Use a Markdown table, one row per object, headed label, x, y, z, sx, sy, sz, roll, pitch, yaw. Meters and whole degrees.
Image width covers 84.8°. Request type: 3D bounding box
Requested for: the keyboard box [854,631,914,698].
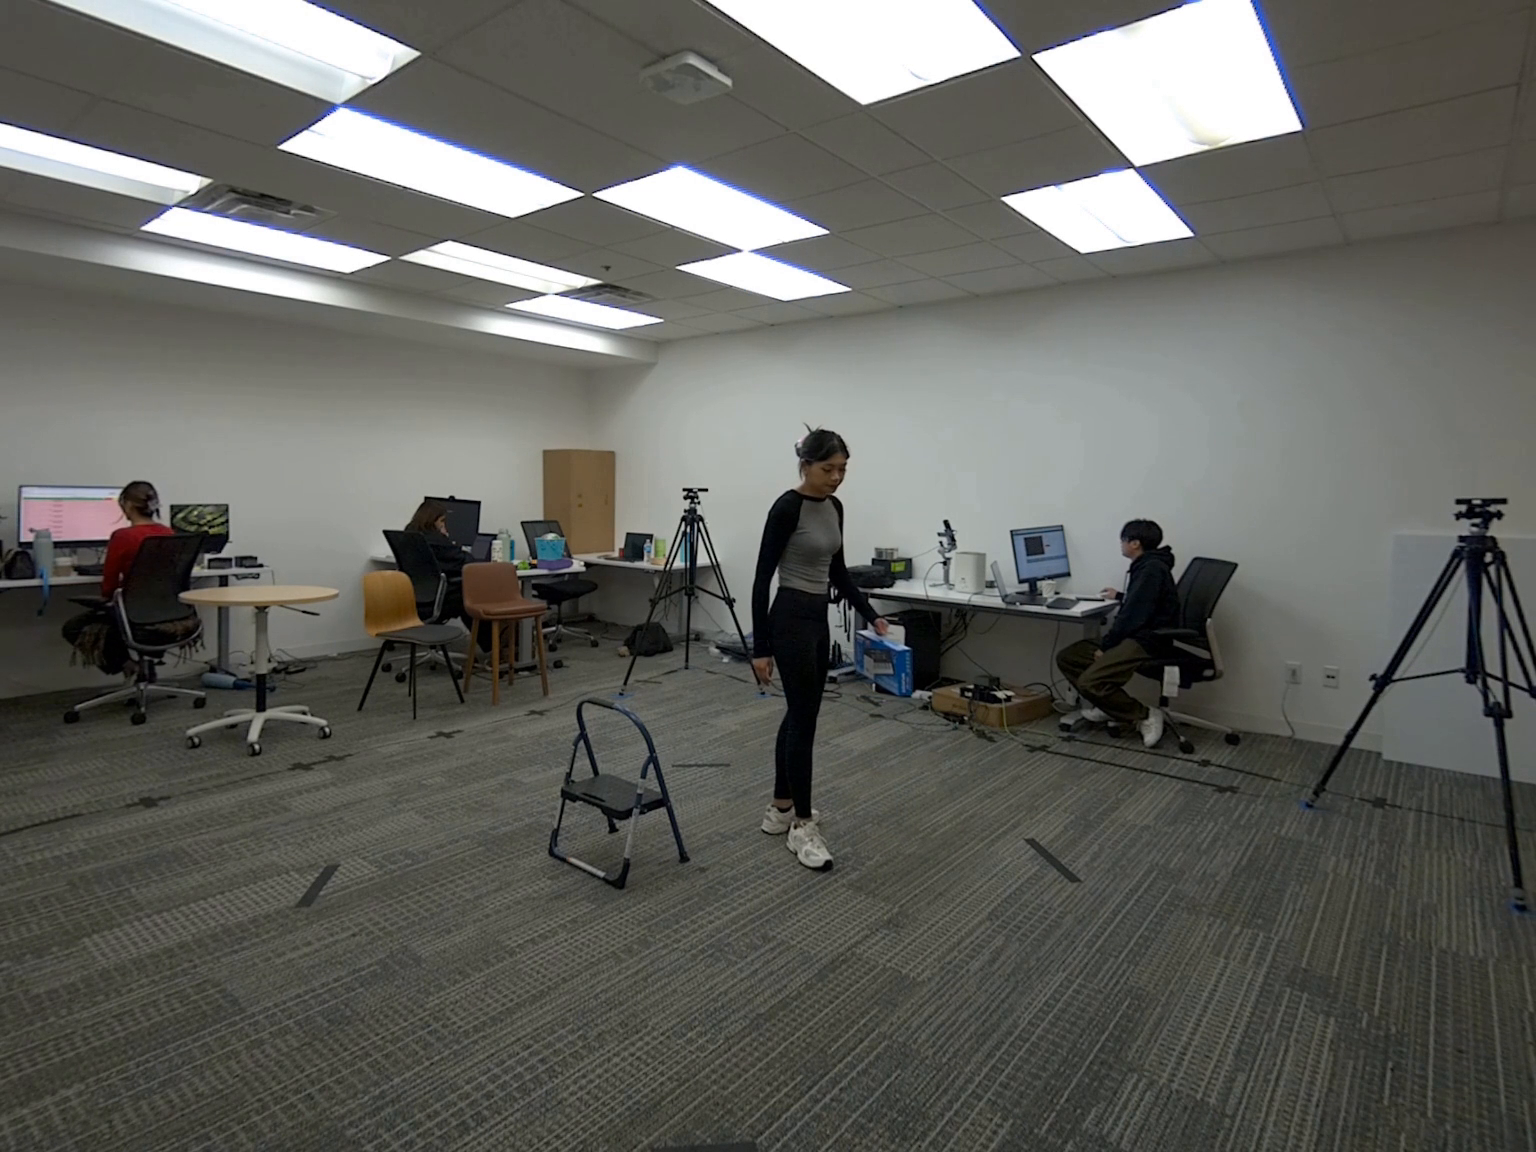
| label | x | y | z | sx | sy | sz | roll | pitch | yaw |
| --- | --- | --- | --- | --- | --- | --- | --- | --- | --- |
| keyboard box | 0.442 | 0.332 | 3.344 | 0.058 | 0.175 | 0.444 | -3 | 5 | -13 |
